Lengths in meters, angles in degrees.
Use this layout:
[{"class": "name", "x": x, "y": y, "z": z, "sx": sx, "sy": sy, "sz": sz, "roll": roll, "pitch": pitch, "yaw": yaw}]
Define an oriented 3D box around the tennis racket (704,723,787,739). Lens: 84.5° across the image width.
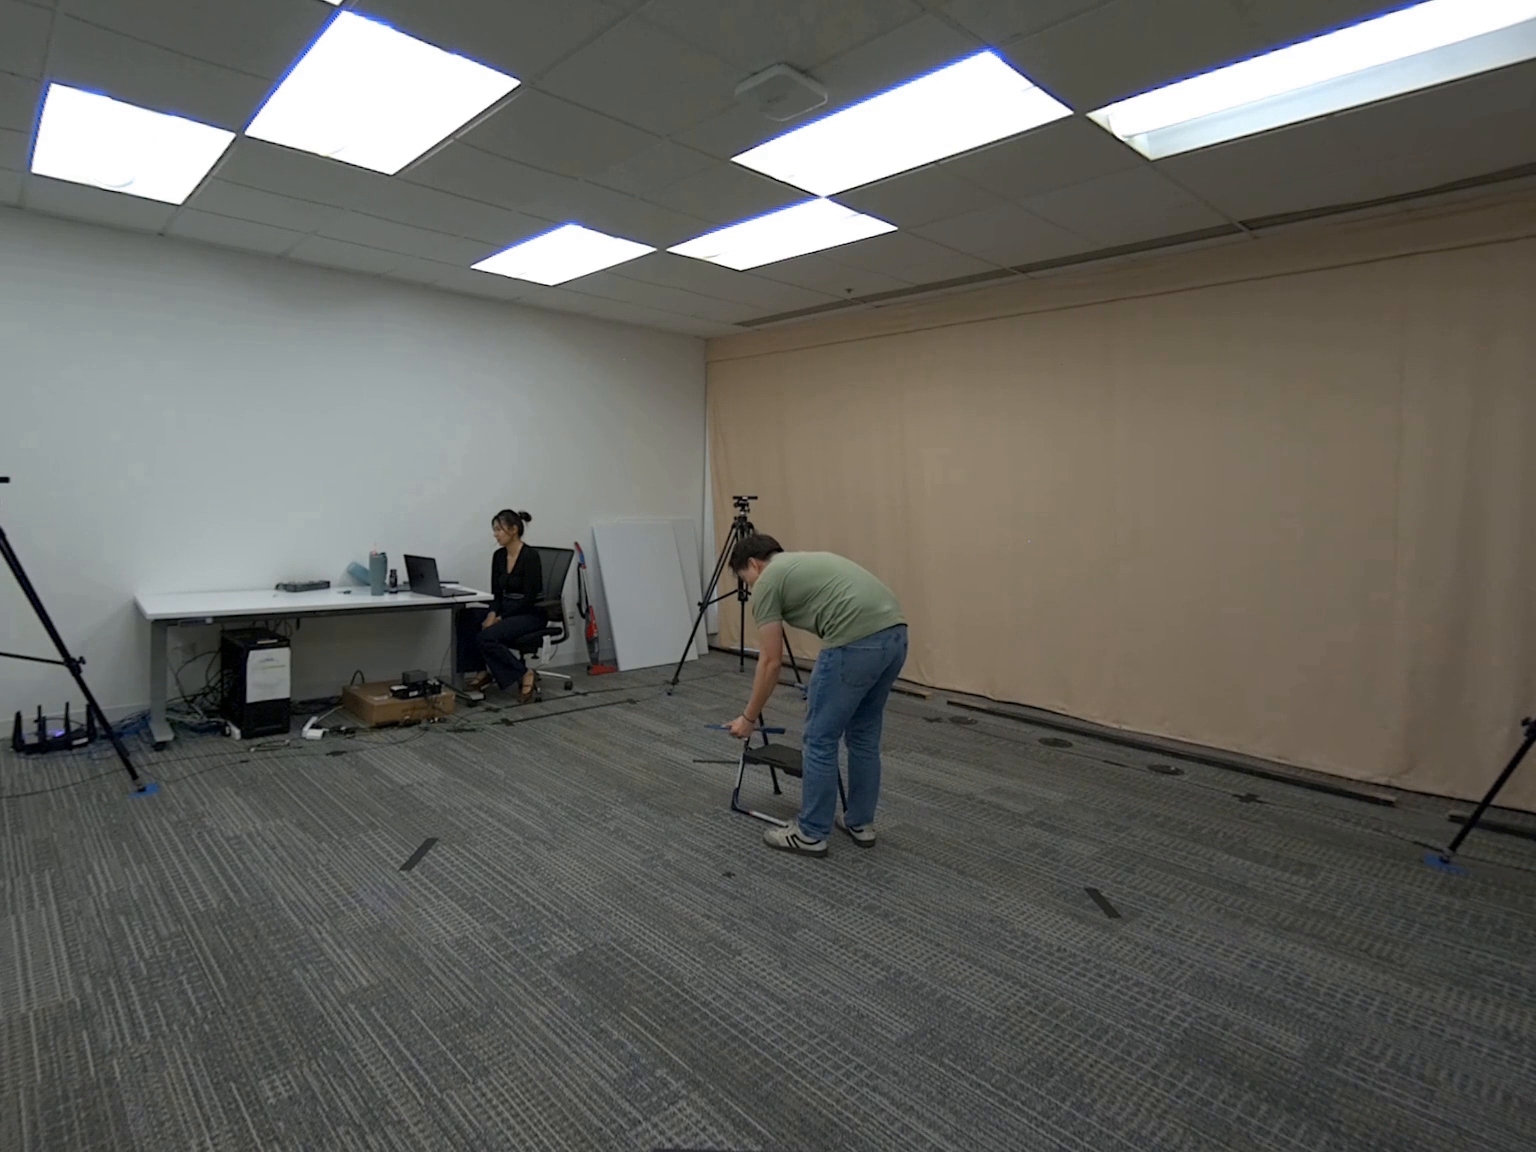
[{"class": "tennis racket", "x": -0.059, "y": 0.639, "z": 3.508, "sx": 0.218, "sy": 0.032, "sz": 0.421, "roll": -2, "pitch": -10, "yaw": 43}]
